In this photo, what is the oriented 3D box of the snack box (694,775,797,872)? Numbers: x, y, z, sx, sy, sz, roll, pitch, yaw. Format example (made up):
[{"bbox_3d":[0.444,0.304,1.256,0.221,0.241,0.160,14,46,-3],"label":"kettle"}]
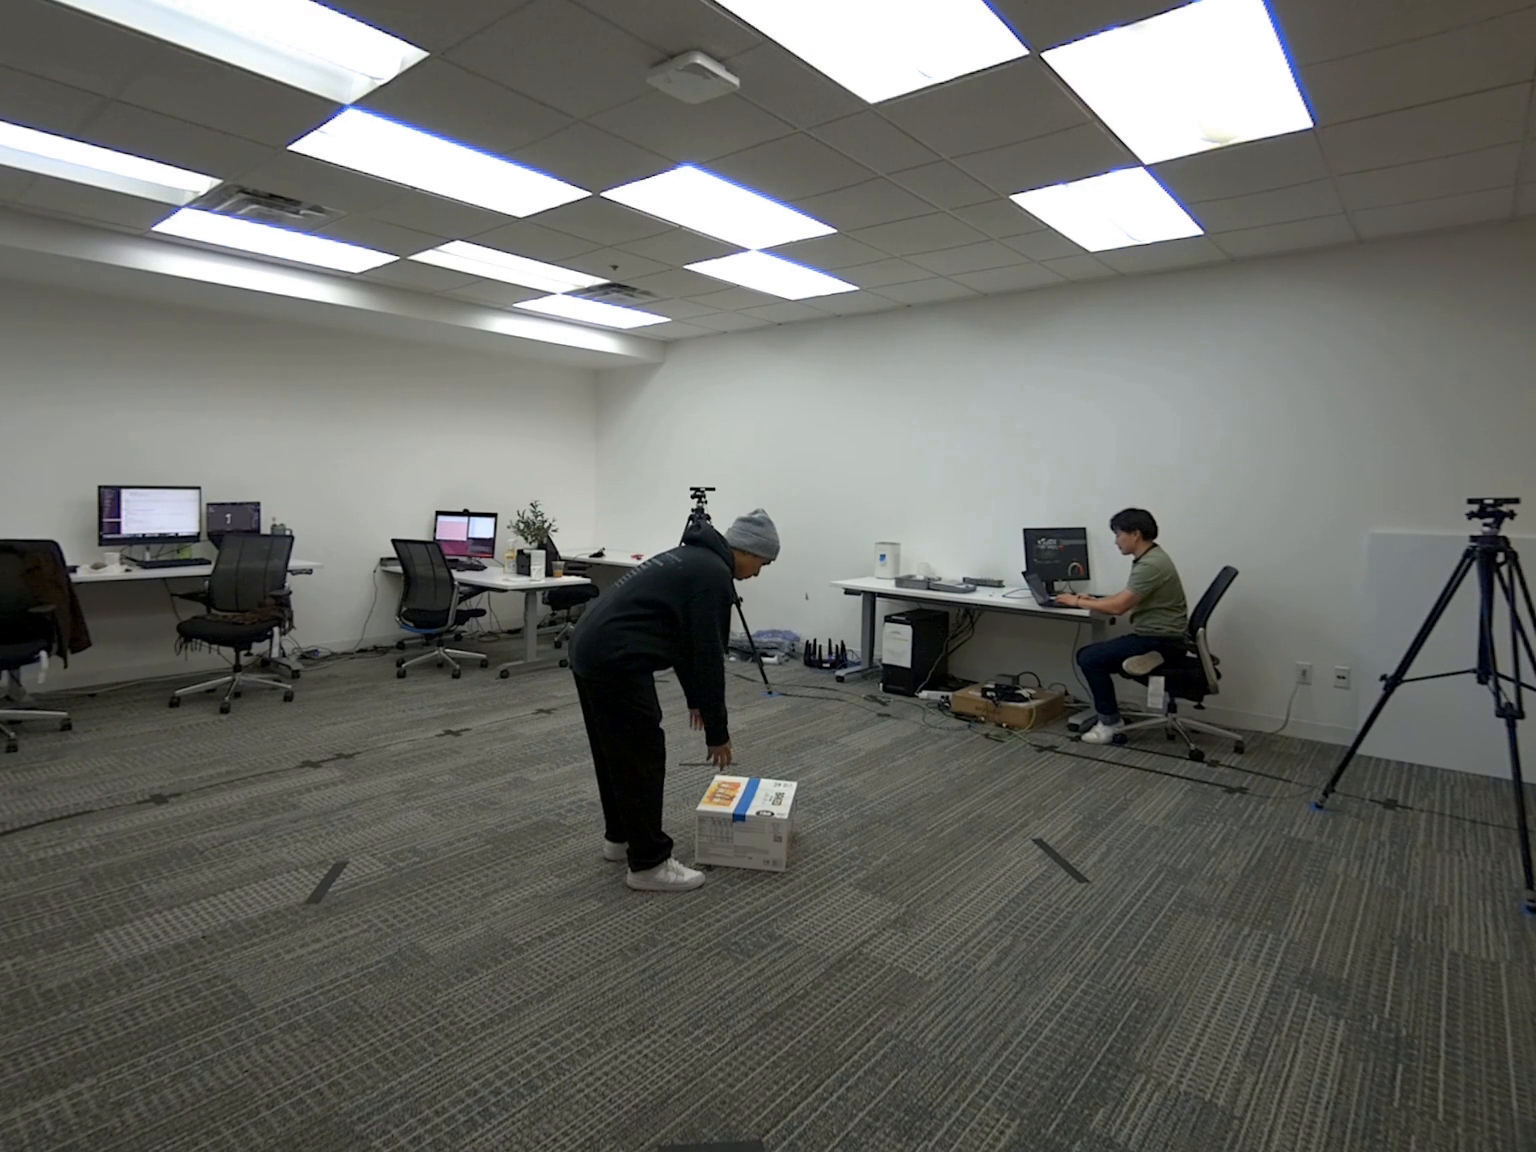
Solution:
[{"bbox_3d":[-0.084,0.947,3.302,0.344,0.205,0.402,2,5,9],"label":"snack box"}]
